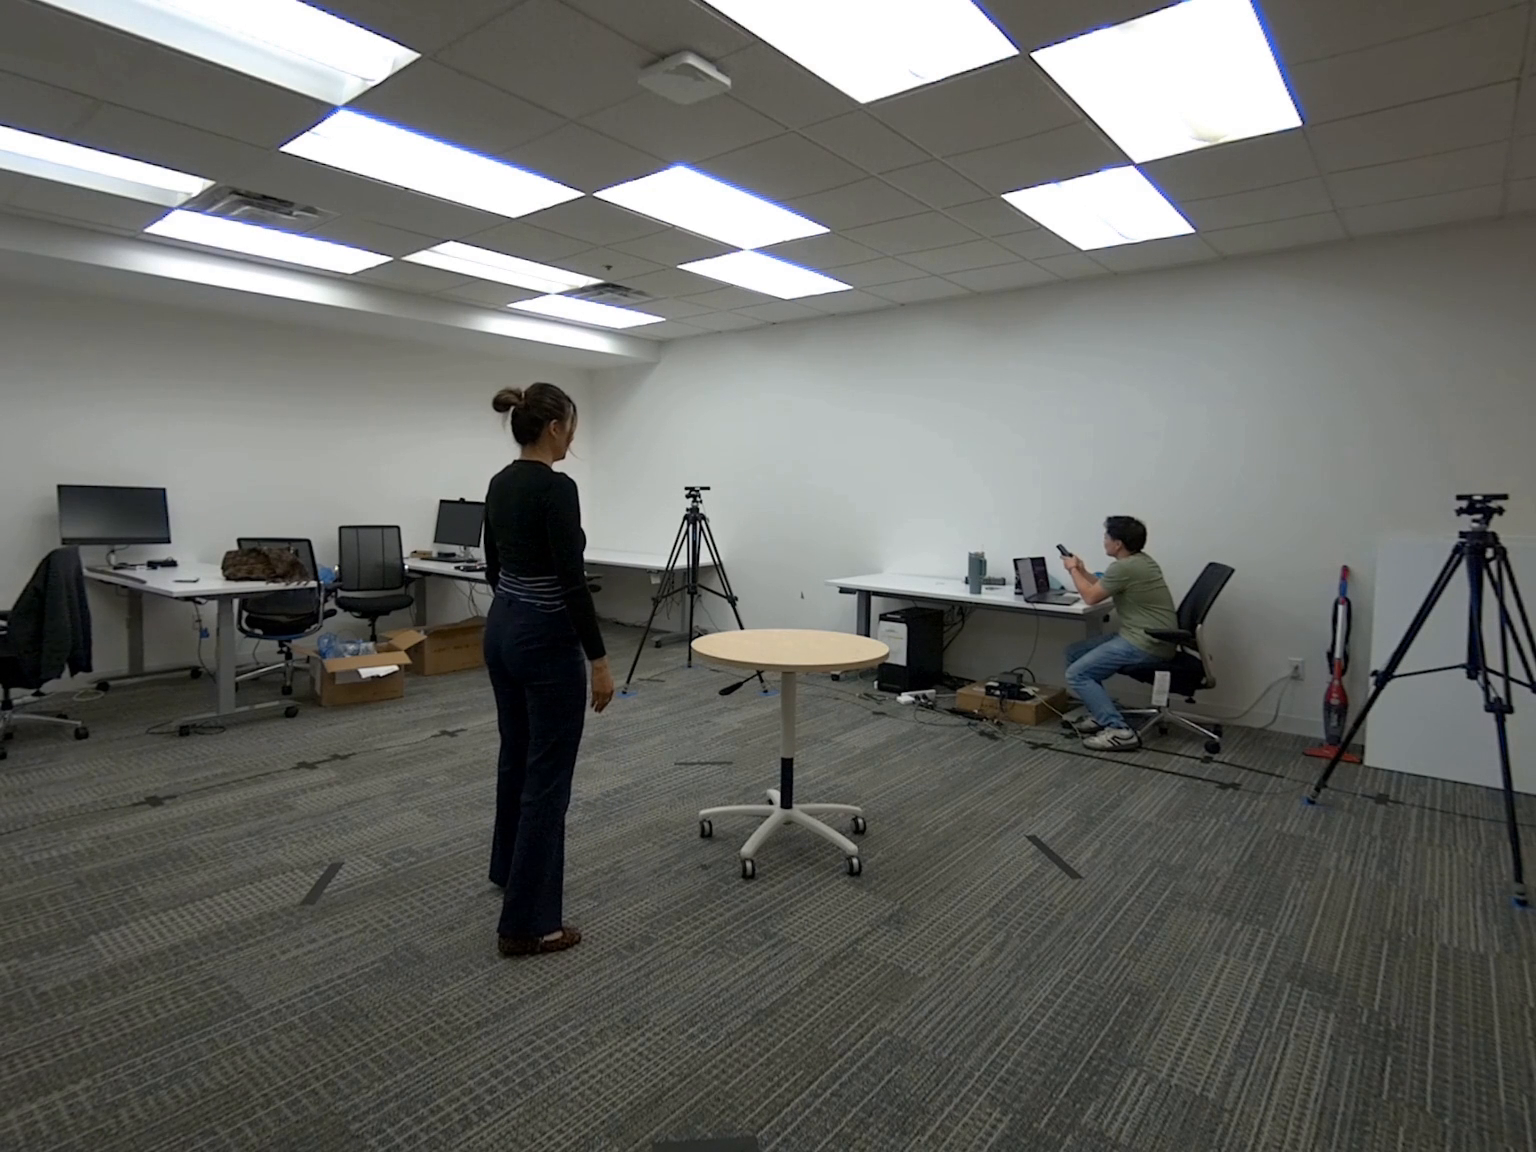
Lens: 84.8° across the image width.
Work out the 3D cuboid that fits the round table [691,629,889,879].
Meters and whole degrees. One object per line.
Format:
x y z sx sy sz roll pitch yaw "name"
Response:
0.067 0.659 3.332 0.763 0.791 0.768 1 4 -2 "round table"
